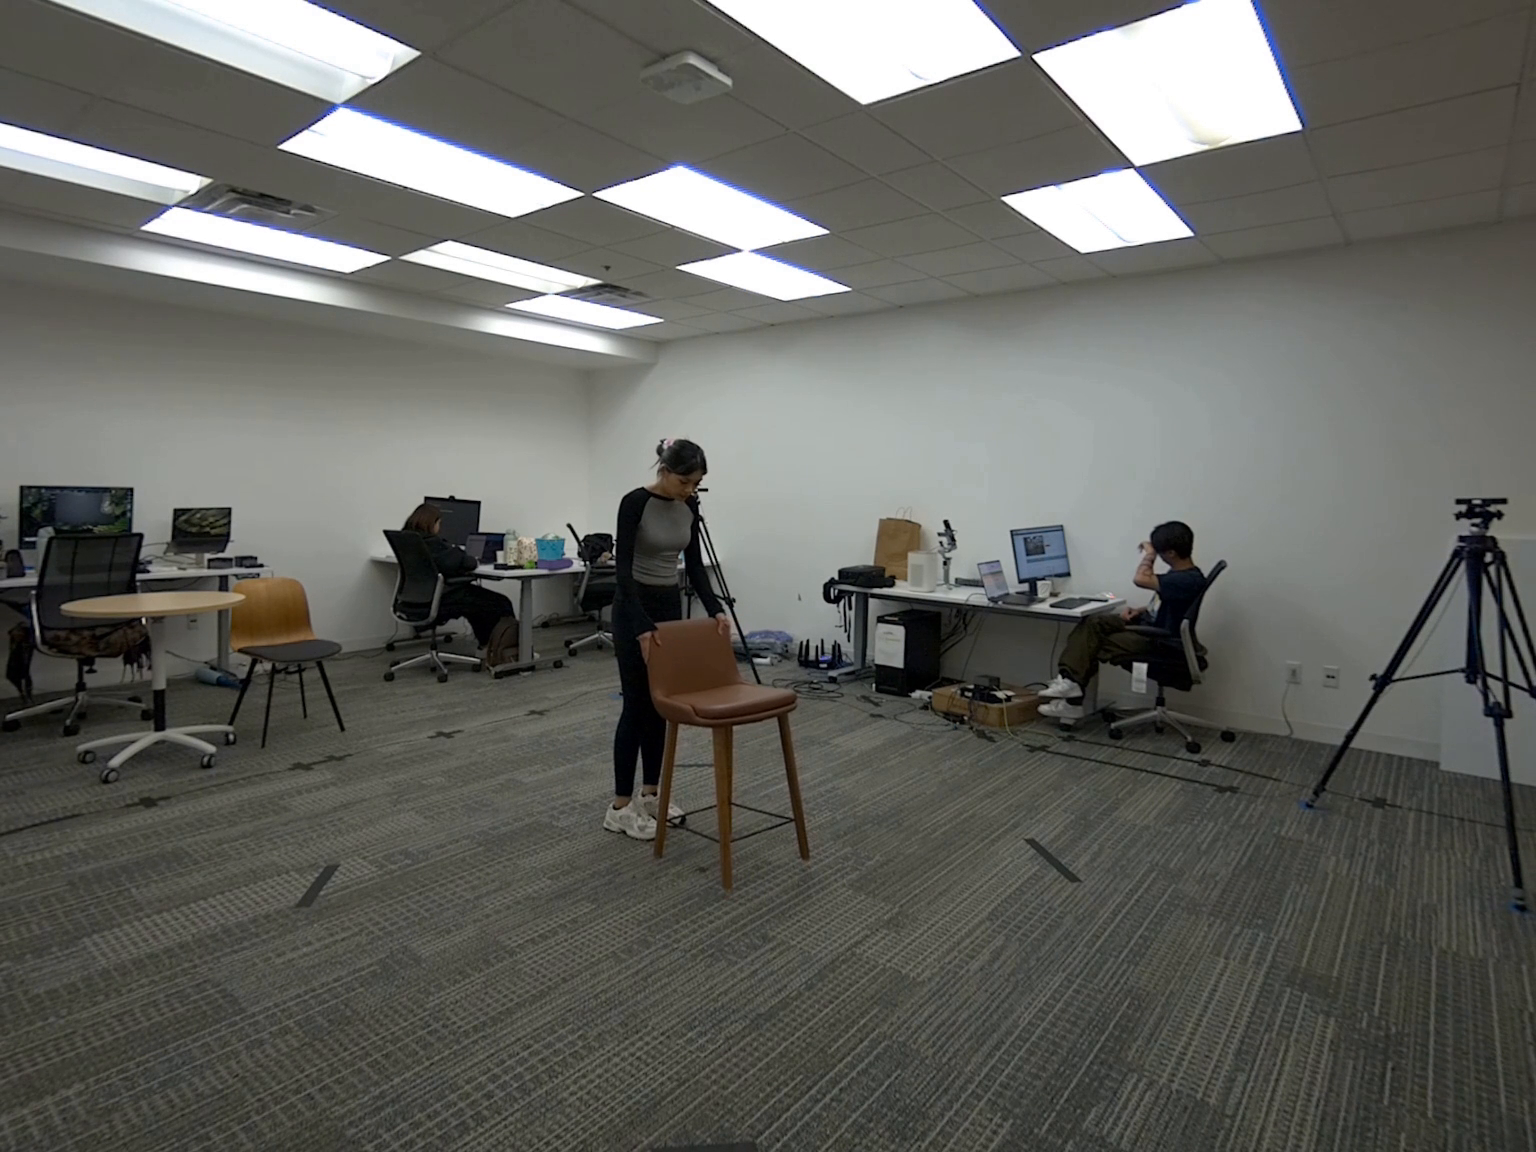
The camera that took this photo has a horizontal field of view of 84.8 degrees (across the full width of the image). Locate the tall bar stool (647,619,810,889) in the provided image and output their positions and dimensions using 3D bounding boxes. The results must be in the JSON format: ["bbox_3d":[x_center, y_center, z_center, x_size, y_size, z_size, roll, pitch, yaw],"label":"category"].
[{"bbox_3d":[-0.174,0.610,3.181,0.443,0.892,0.481,-2,-3,-41],"label":"tall bar stool"}]
